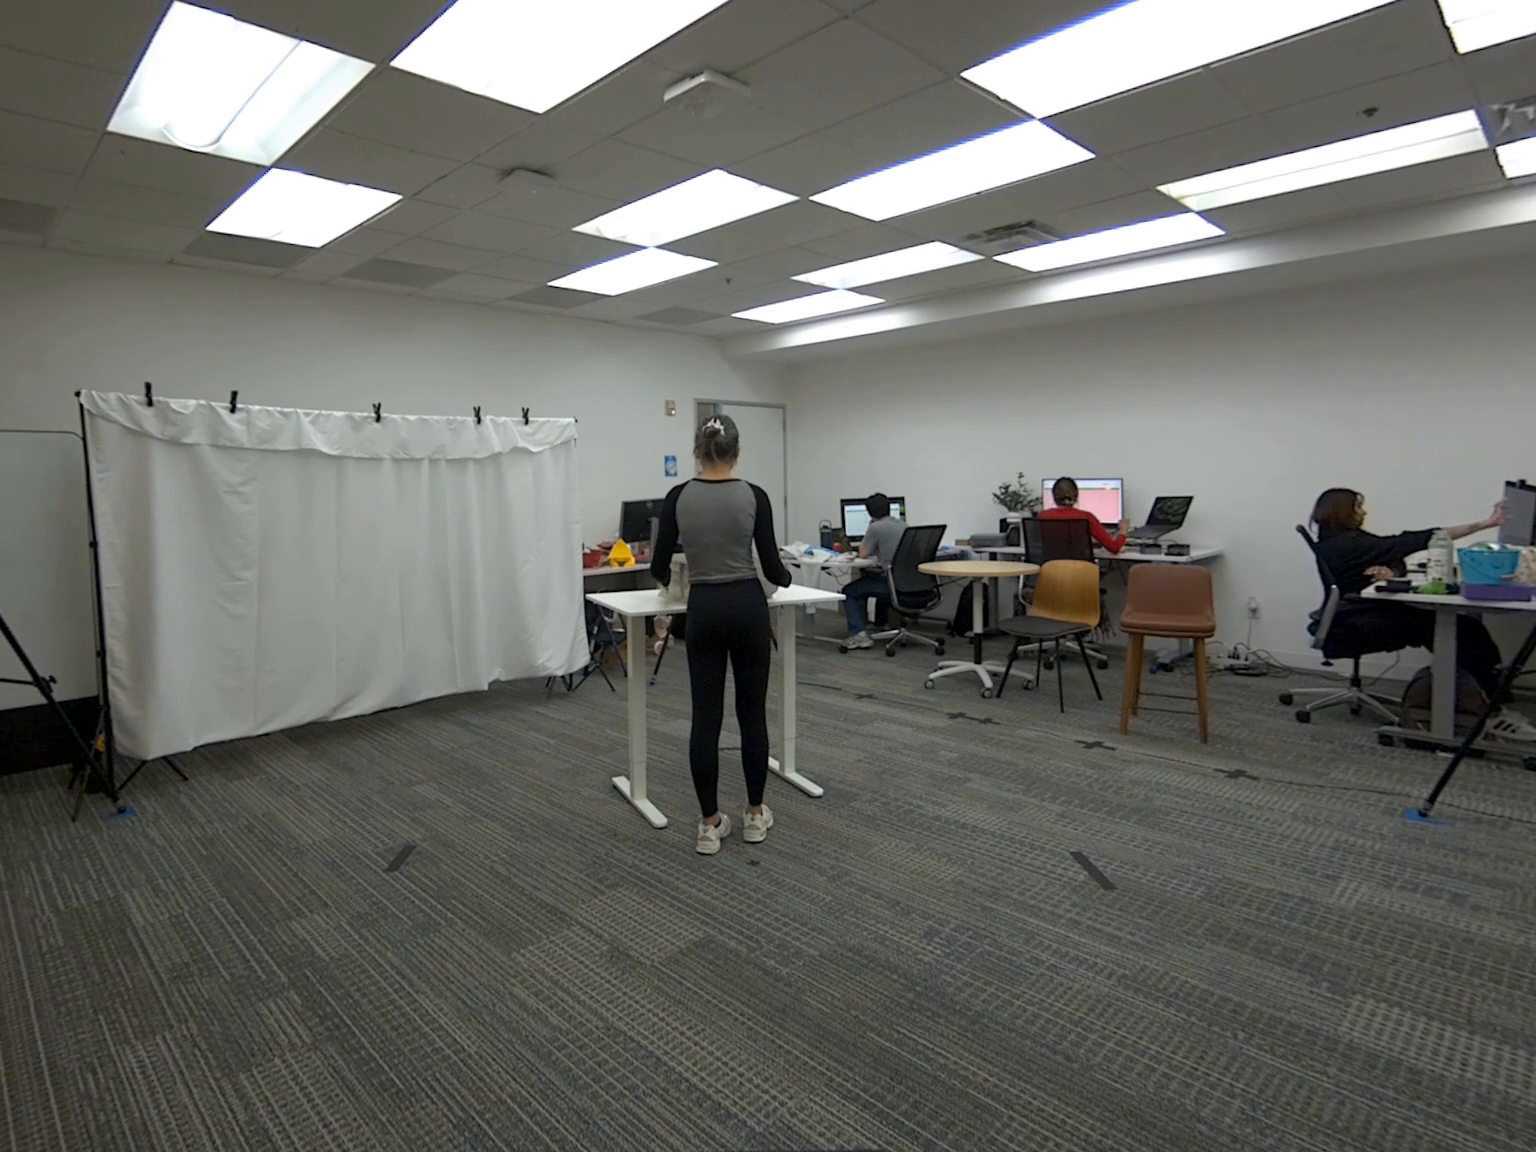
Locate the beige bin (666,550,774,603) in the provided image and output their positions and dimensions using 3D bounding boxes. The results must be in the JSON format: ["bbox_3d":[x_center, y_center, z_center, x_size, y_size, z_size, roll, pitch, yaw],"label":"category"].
[{"bbox_3d":[-0.218,0.006,3.725,0.413,0.188,0.387,-5,6,-28],"label":"beige bin"}]
